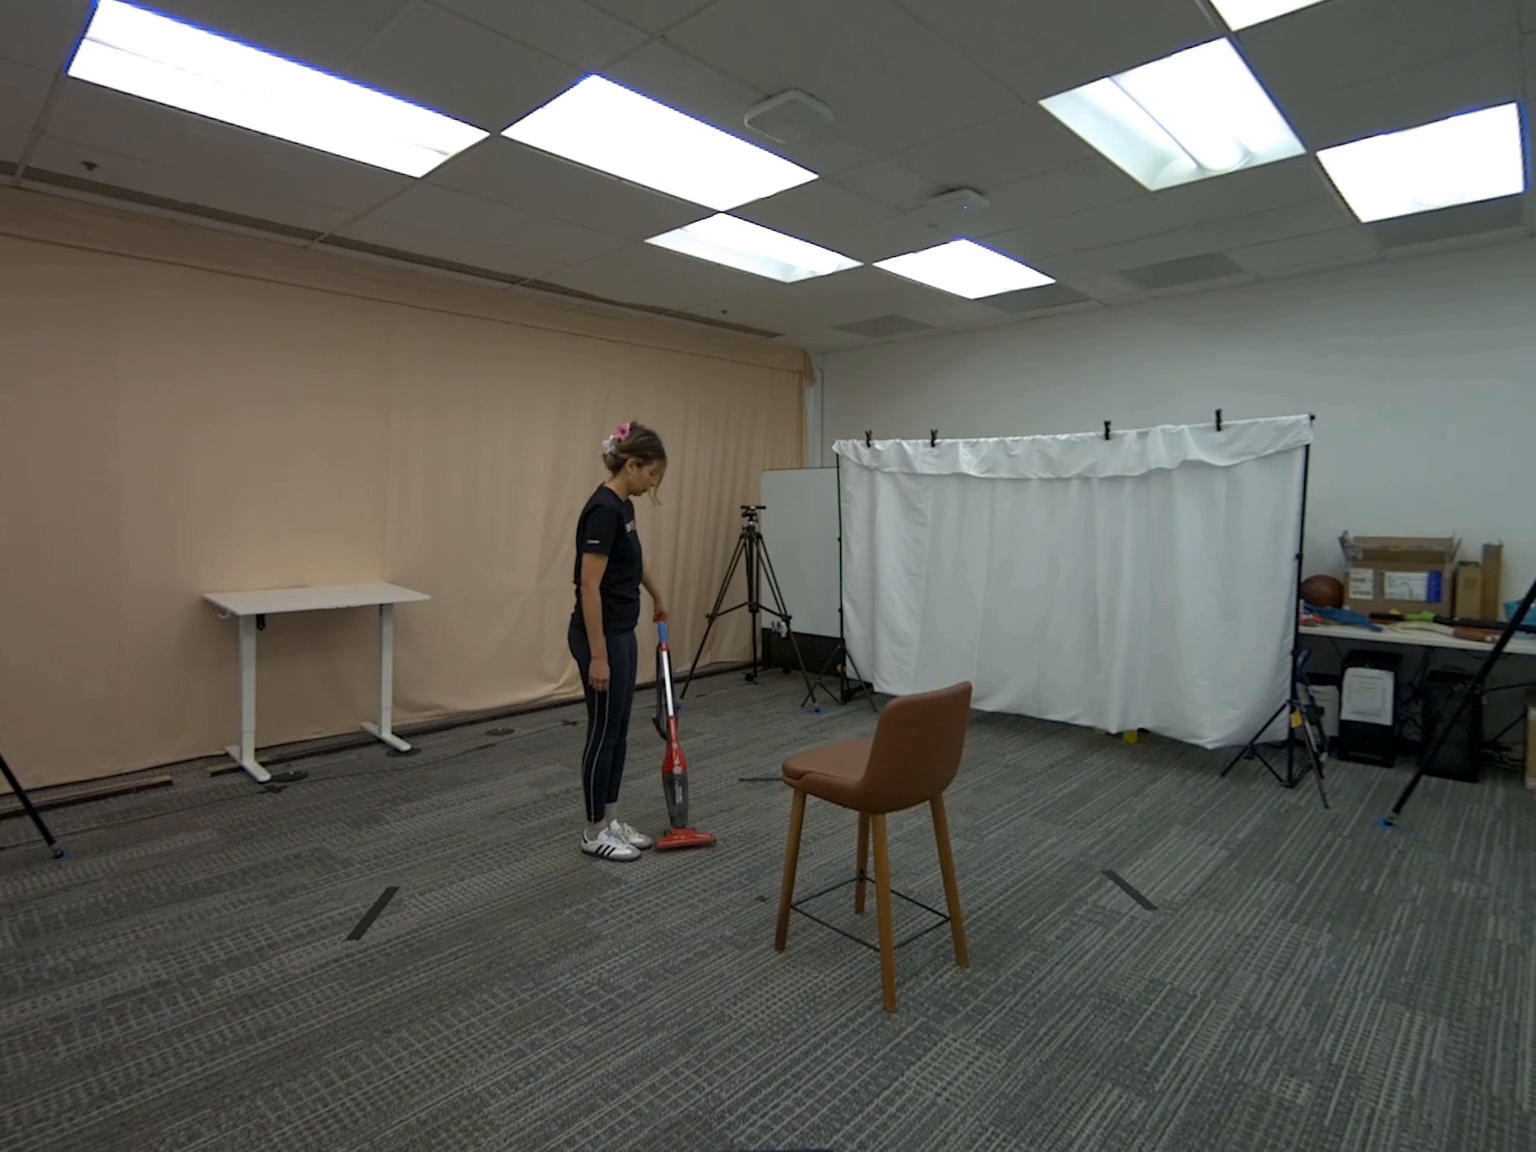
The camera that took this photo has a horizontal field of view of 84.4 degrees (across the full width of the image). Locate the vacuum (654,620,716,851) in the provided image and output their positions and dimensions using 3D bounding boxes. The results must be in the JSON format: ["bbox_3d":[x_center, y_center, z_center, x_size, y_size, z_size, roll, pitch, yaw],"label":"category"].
[{"bbox_3d":[-0.425,0.630,3.694,0.247,1.070,0.144,0,-29,-20],"label":"vacuum"}]
